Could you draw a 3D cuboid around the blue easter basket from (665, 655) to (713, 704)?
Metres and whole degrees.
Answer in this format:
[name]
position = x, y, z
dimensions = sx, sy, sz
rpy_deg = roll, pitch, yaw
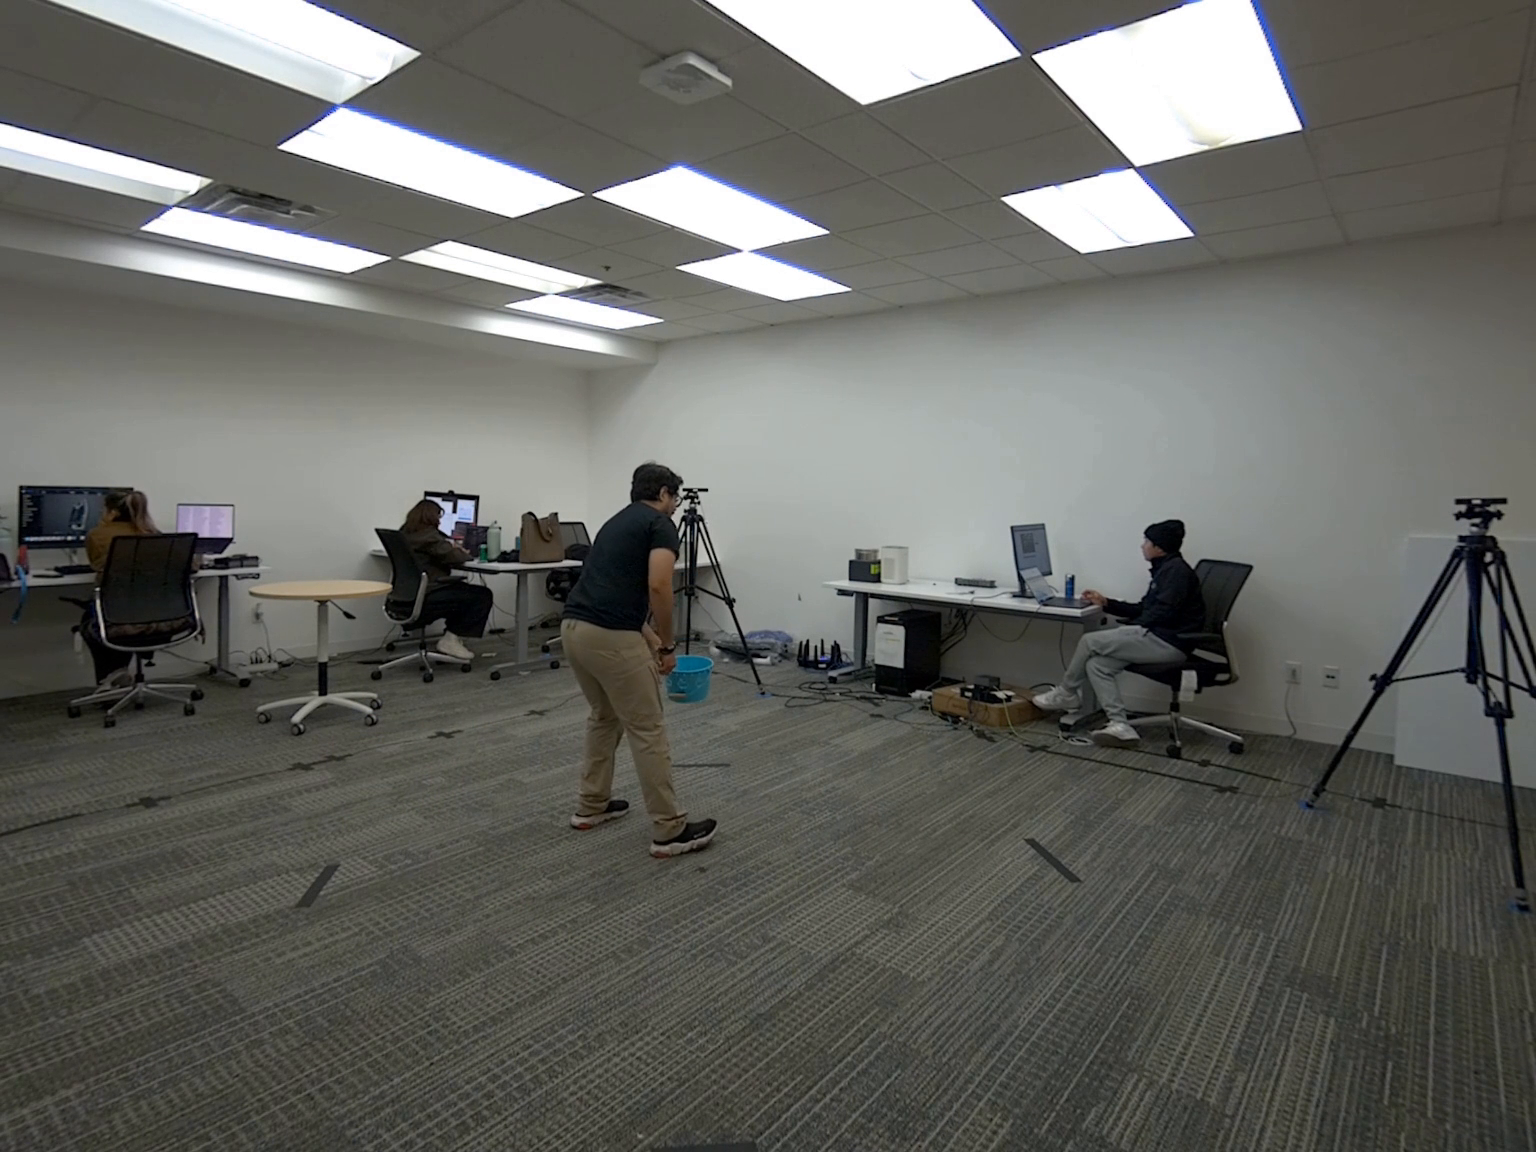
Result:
[blue easter basket]
position = -0.378, 0.460, 3.785
dimensions = 0.243, 0.154, 0.246
rpy_deg = 0, 10, -2
